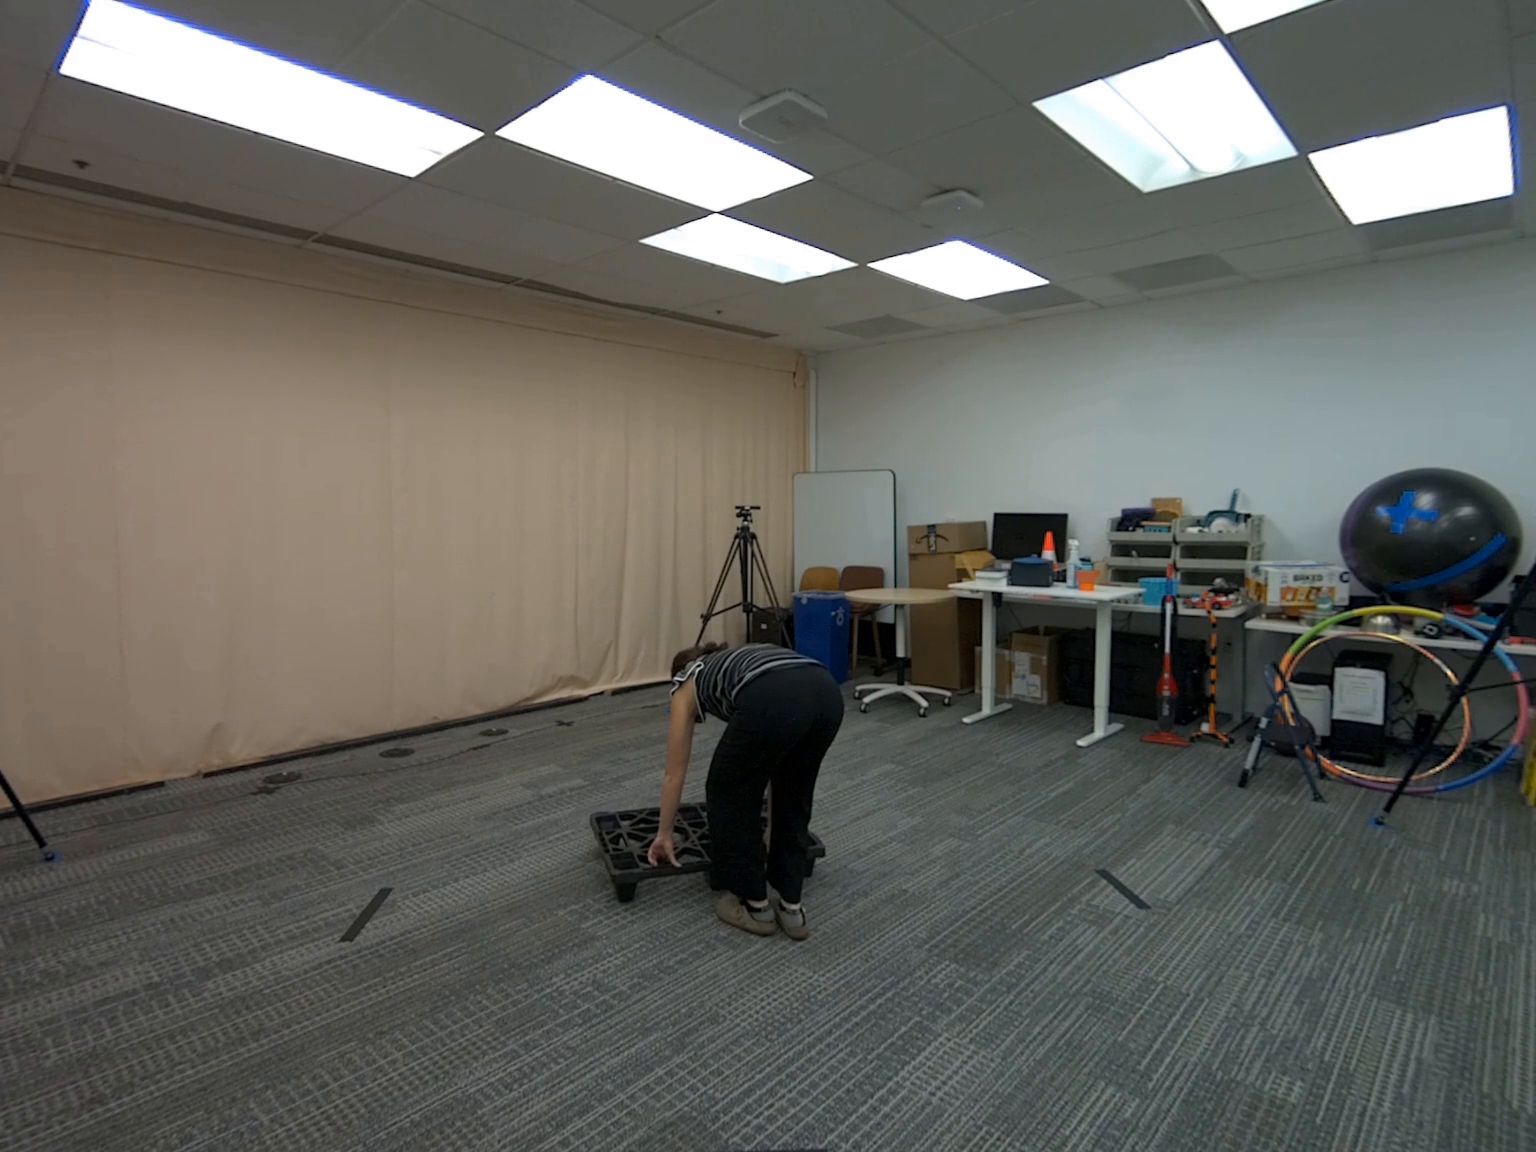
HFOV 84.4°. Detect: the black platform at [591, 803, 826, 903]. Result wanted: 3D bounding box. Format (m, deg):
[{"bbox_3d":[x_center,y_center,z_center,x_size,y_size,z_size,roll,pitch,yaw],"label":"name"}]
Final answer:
[{"bbox_3d":[-0.259,1.051,3.278,0.792,0.143,0.617,-2,4,-17],"label":"black platform"}]
